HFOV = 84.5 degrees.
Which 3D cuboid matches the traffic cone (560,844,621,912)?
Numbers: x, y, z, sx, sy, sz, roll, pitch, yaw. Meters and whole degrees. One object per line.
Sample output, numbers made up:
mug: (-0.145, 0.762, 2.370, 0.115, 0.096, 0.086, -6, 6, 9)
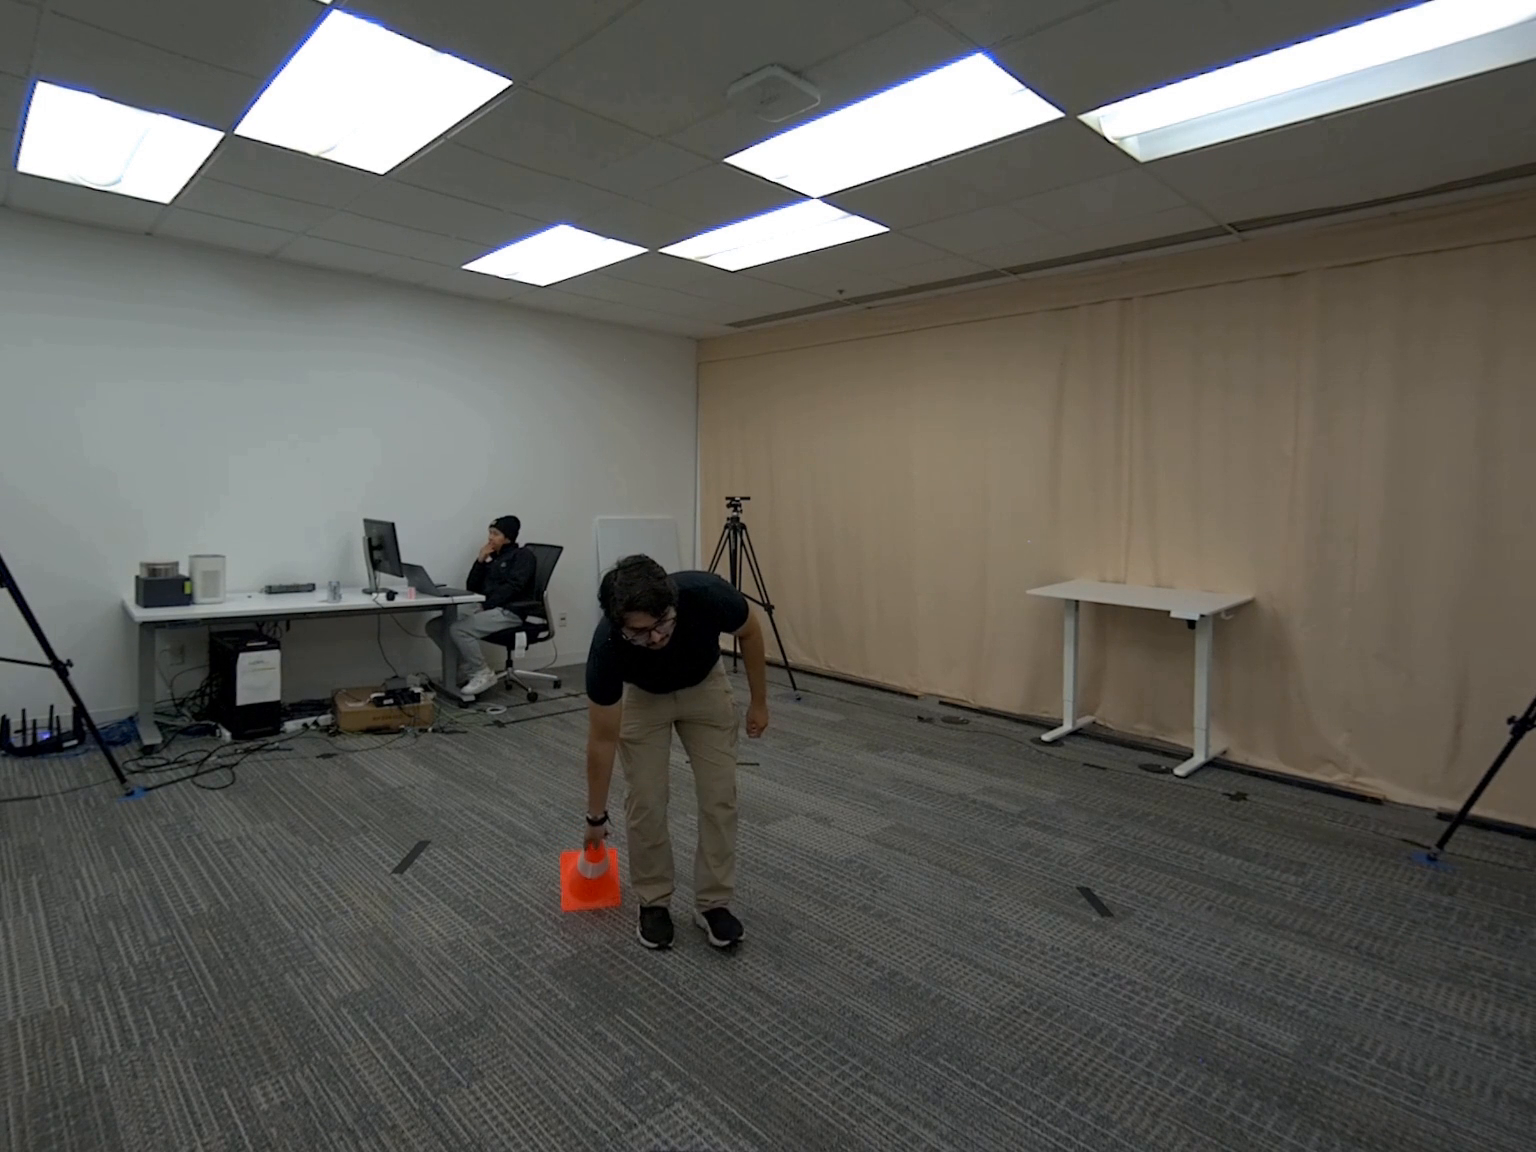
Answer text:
traffic cone: (-0.575, 0.930, 2.755, 0.200, 0.210, 0.379, -3, -37, -19)
